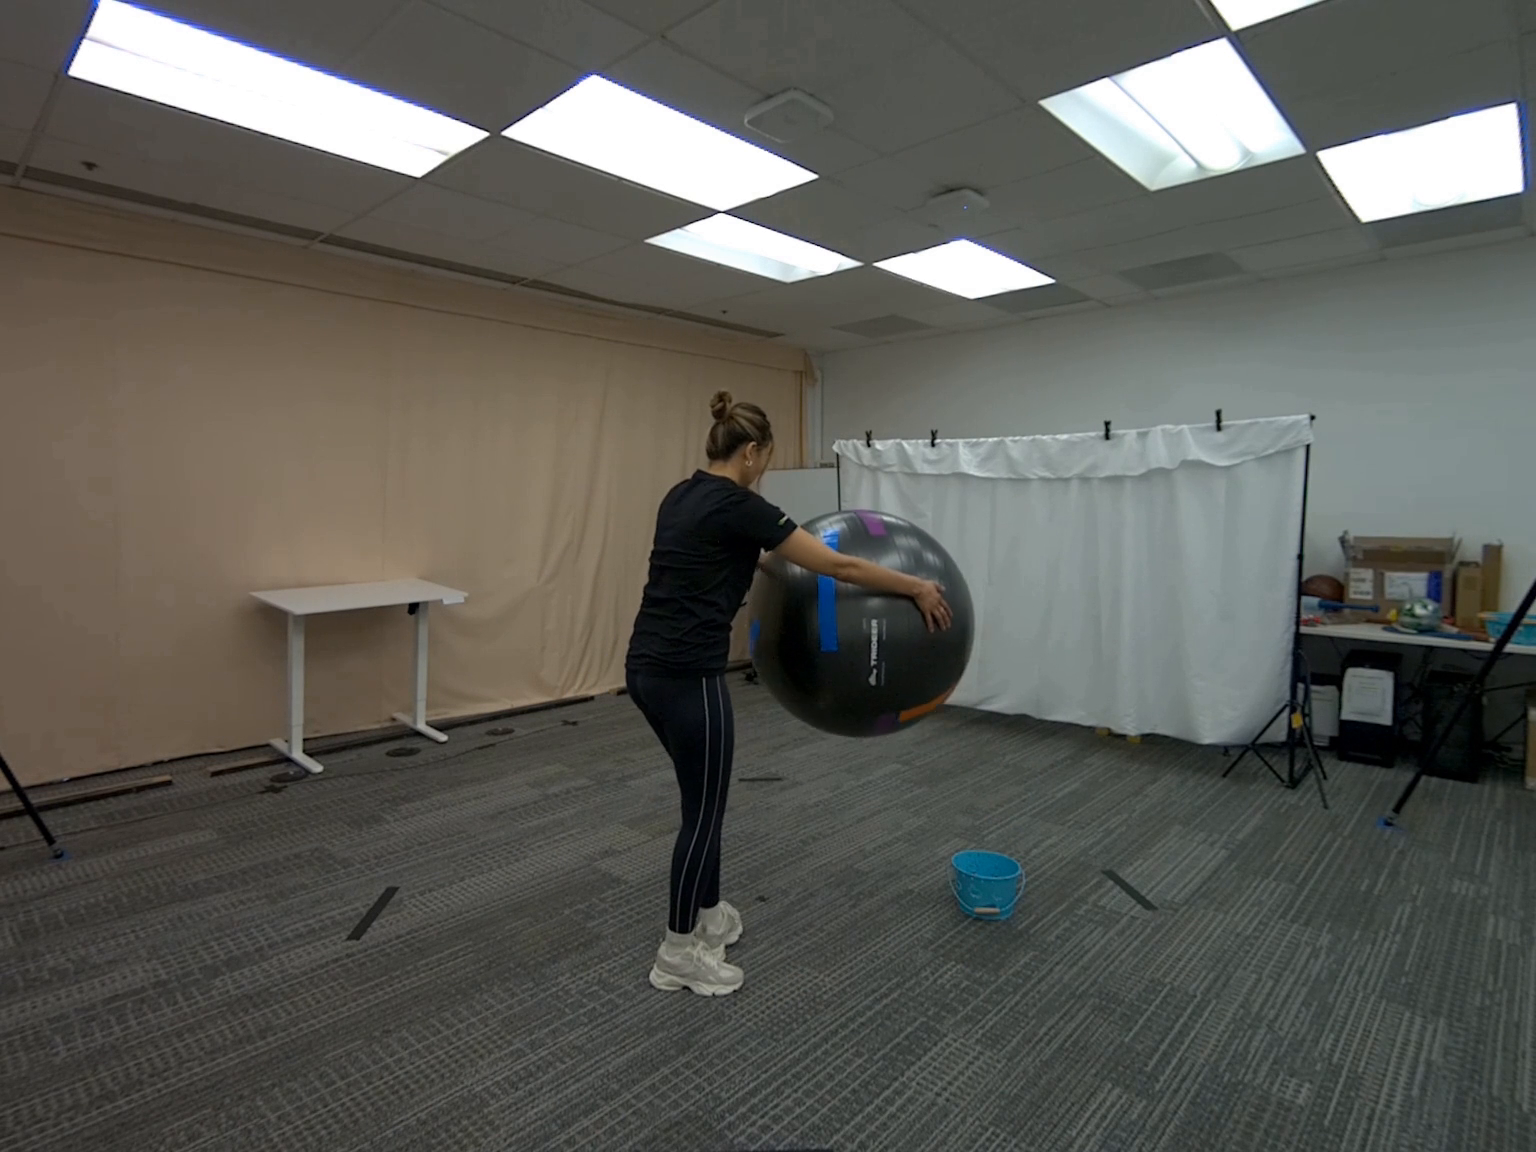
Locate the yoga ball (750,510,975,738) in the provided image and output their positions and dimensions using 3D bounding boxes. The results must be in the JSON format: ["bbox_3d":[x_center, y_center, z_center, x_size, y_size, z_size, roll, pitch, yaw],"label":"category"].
[{"bbox_3d":[0.306,0.170,2.839,0.757,0.756,0.761,0,4,-2],"label":"yoga ball"}]
